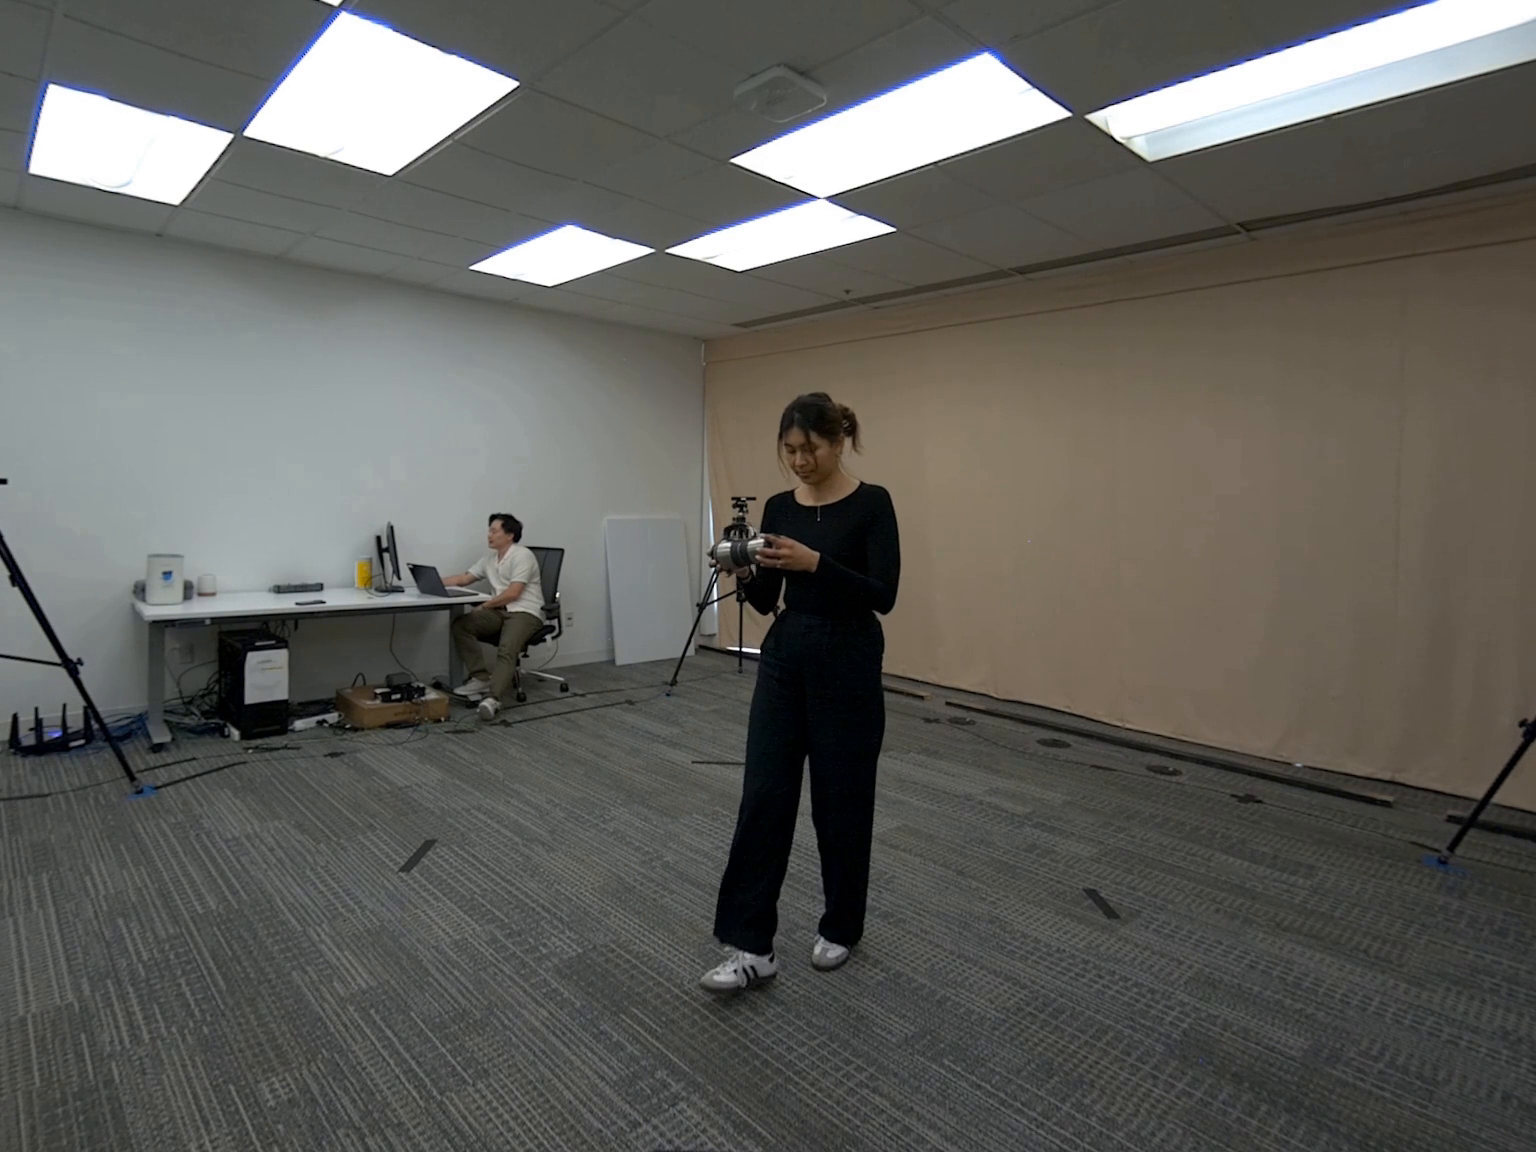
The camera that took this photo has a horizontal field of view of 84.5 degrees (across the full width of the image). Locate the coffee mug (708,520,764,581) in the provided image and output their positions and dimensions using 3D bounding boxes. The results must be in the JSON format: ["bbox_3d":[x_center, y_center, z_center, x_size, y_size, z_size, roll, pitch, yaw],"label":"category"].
[{"bbox_3d":[-0.039,-0.074,2.227,0.207,0.121,0.087,-11,12,43],"label":"coffee mug"}]
